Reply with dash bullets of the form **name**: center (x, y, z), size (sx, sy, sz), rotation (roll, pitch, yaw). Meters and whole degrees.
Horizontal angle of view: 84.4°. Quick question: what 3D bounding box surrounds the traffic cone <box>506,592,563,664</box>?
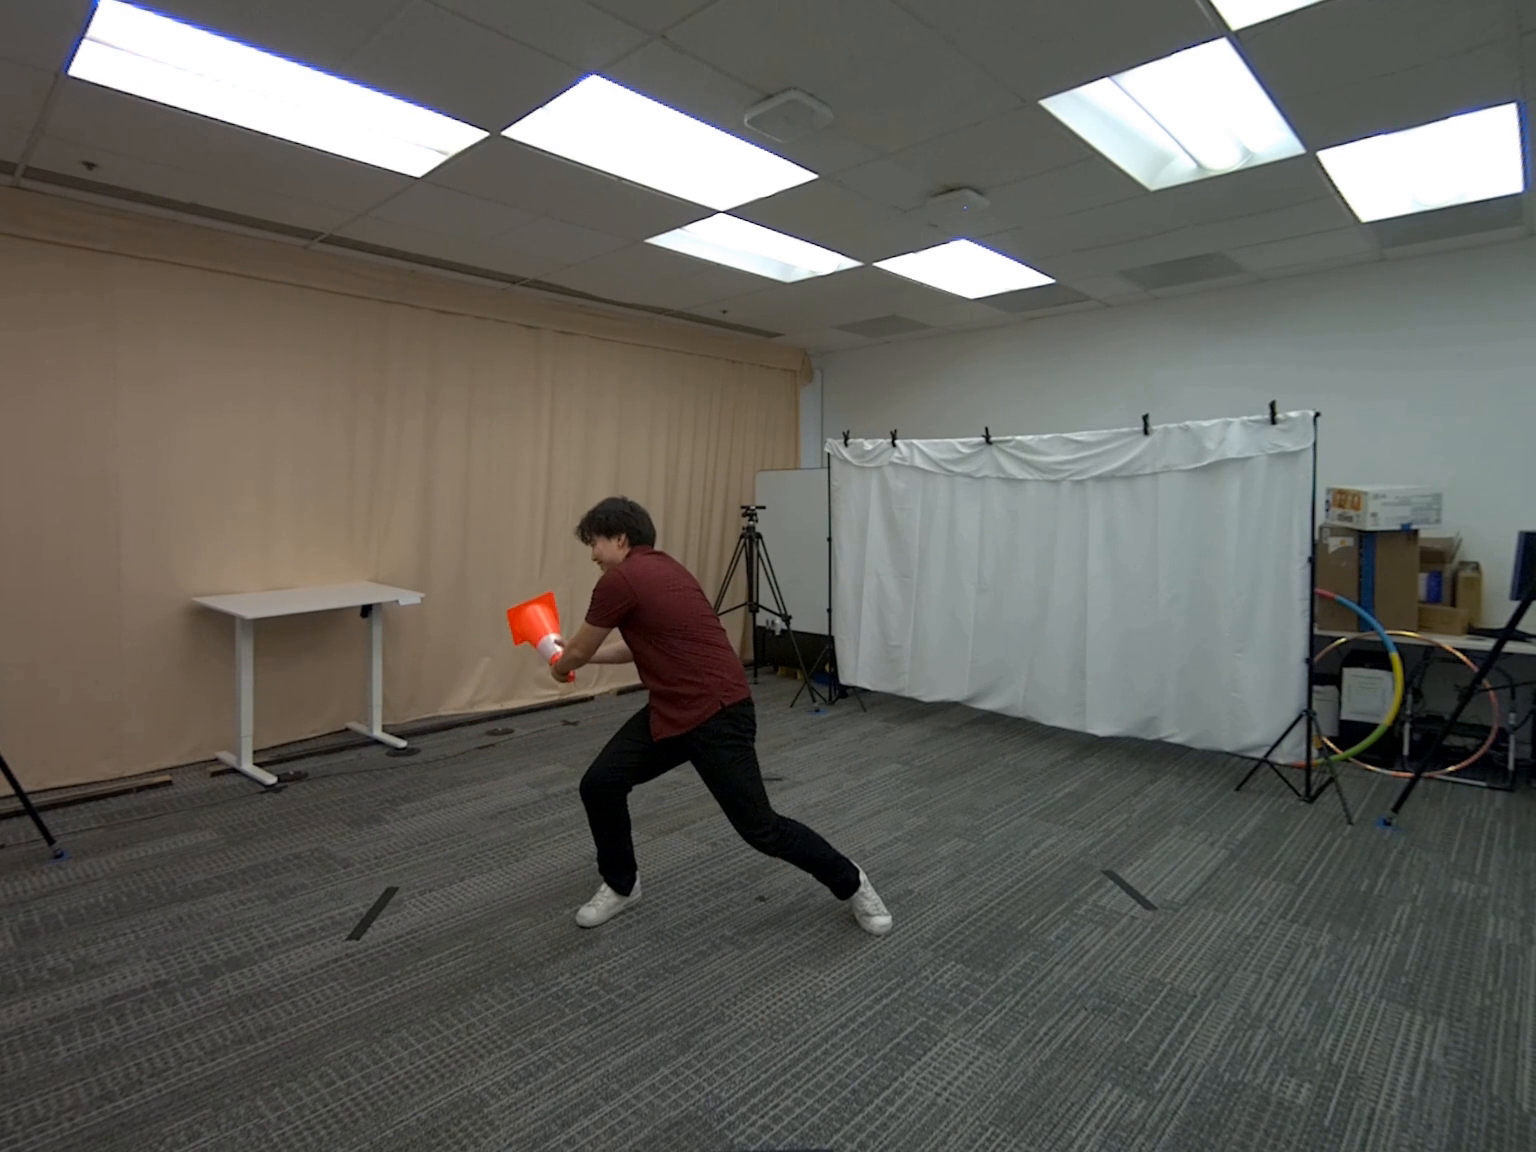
- **traffic cone**: center (-0.812, 0.280, 3.171), size (0.200, 0.201, 0.398), rotation (-24, 44, -26)
